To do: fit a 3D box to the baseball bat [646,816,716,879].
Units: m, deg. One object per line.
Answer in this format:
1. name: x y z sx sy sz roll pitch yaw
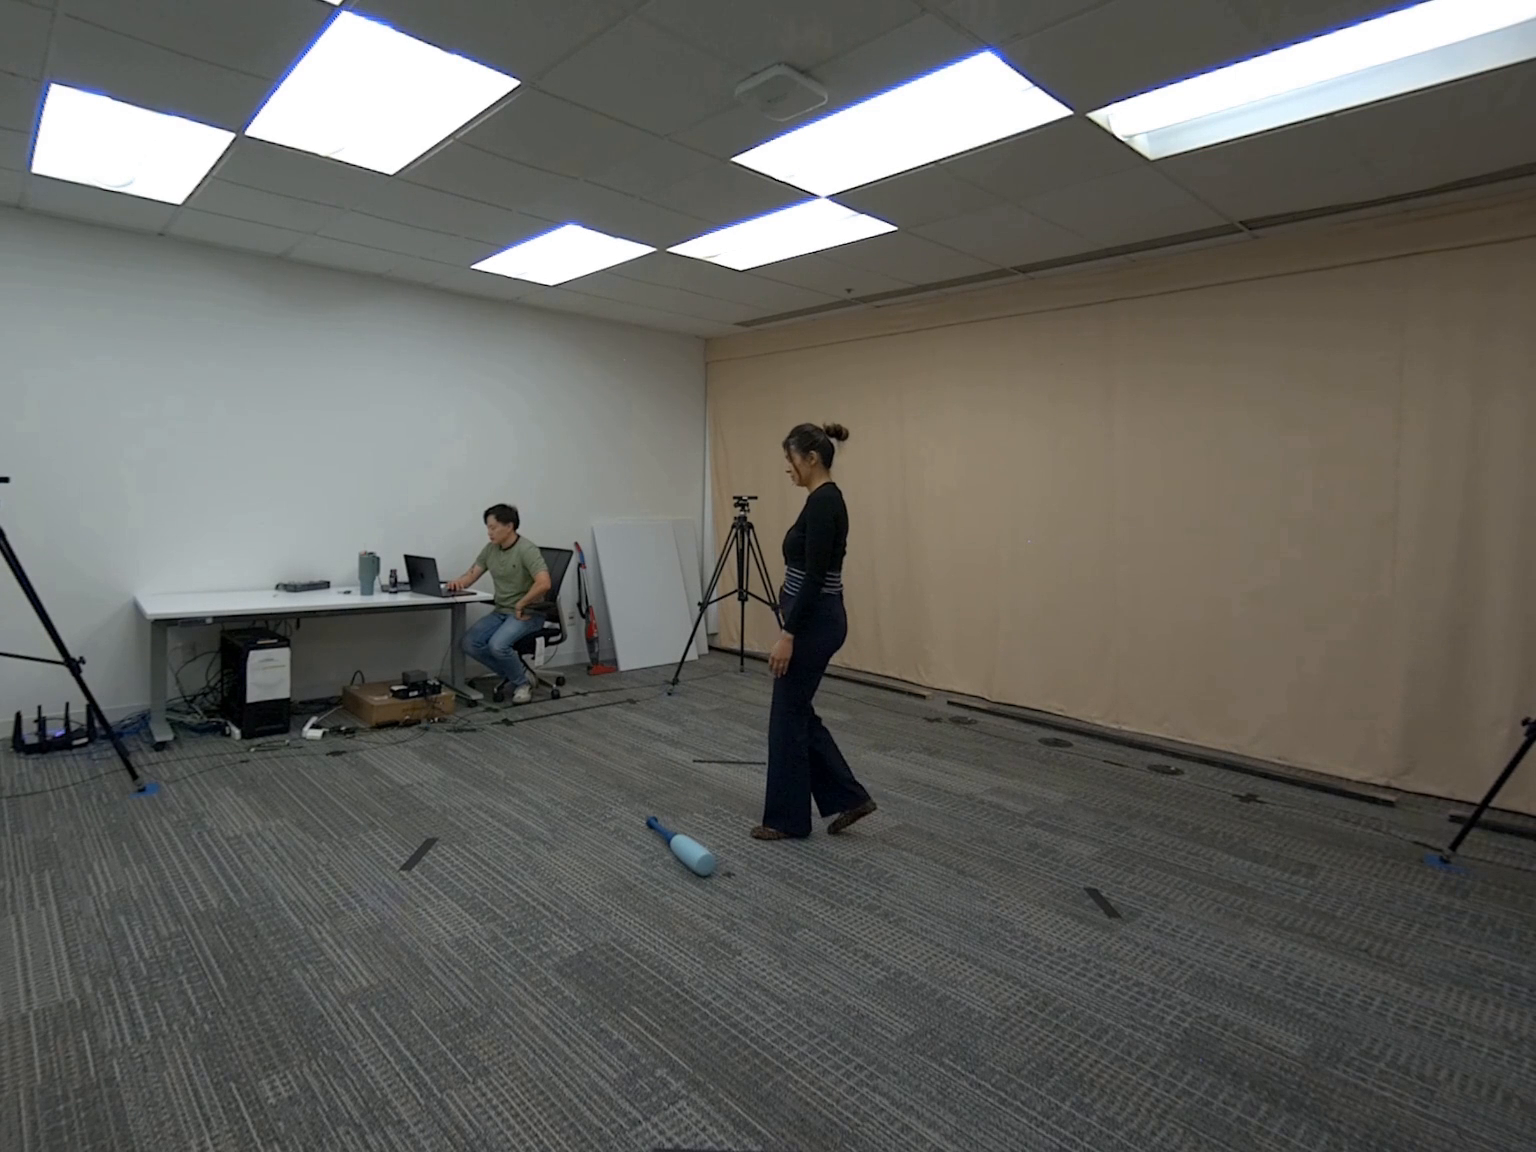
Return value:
1. baseball bat: -0.364 1.044 3.294 0.087 0.089 0.554 -1 3 -28
